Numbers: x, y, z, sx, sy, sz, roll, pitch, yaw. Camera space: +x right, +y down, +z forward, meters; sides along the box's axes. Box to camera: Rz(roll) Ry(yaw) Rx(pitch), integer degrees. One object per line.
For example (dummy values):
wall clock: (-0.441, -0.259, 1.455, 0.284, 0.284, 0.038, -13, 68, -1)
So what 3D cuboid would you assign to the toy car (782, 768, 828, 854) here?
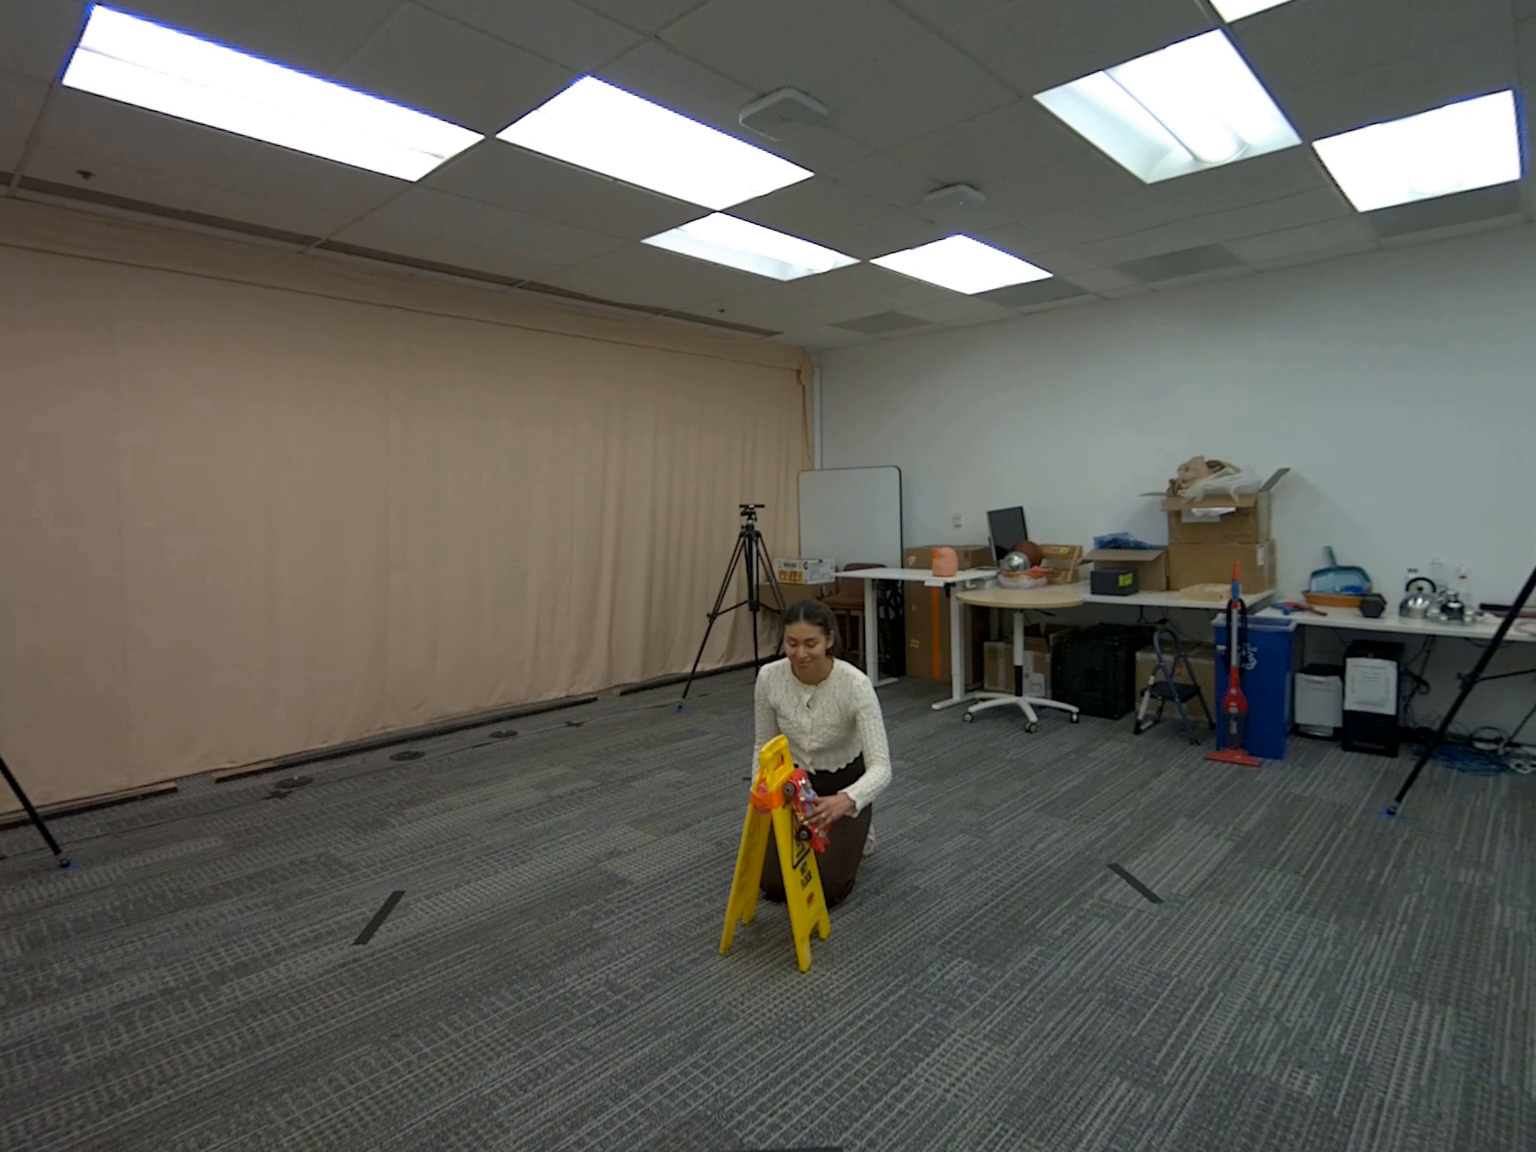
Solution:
toy car: (0.122, 0.738, 2.649, 0.084, 0.256, 0.127, -30, -5, 27)
